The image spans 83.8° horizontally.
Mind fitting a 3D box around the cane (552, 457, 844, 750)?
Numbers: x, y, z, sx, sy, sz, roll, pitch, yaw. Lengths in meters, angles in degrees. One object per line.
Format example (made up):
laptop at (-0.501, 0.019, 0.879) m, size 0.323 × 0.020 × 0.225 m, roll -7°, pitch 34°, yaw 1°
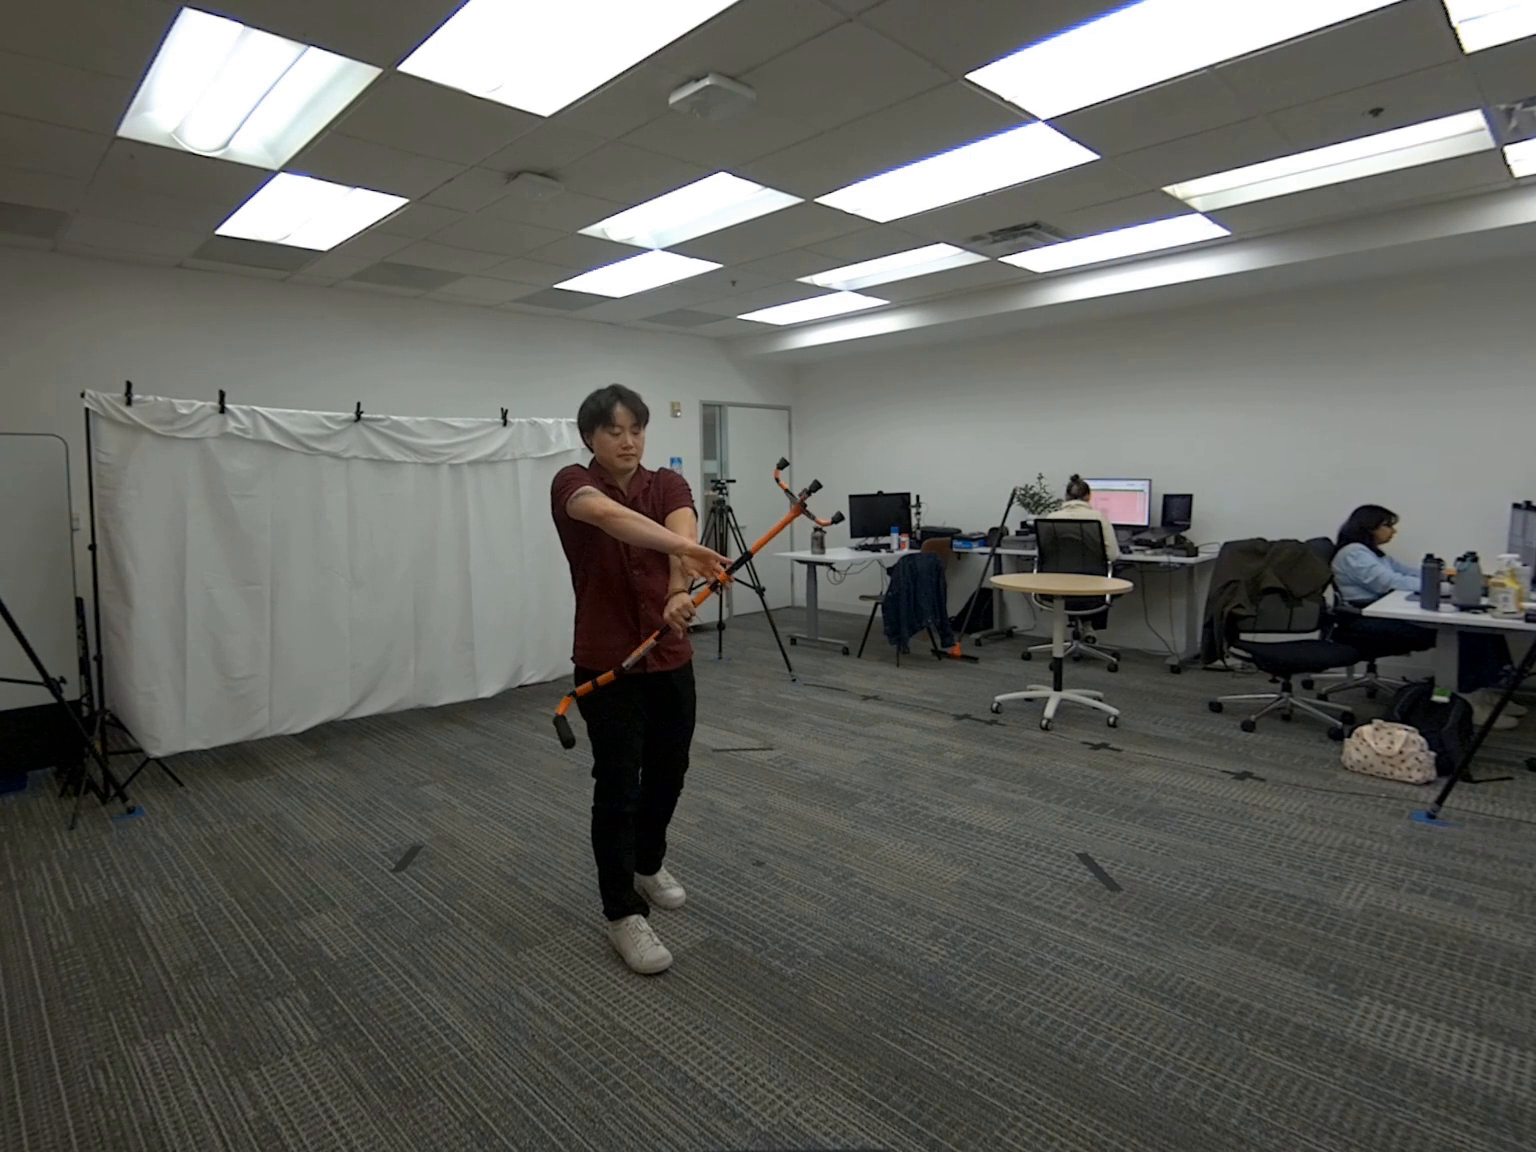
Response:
cane at (-0.214, 0.075, 2.229) m, size 0.907 × 0.146 × 0.214 m, roll -43°, pitch 34°, yaw -3°
